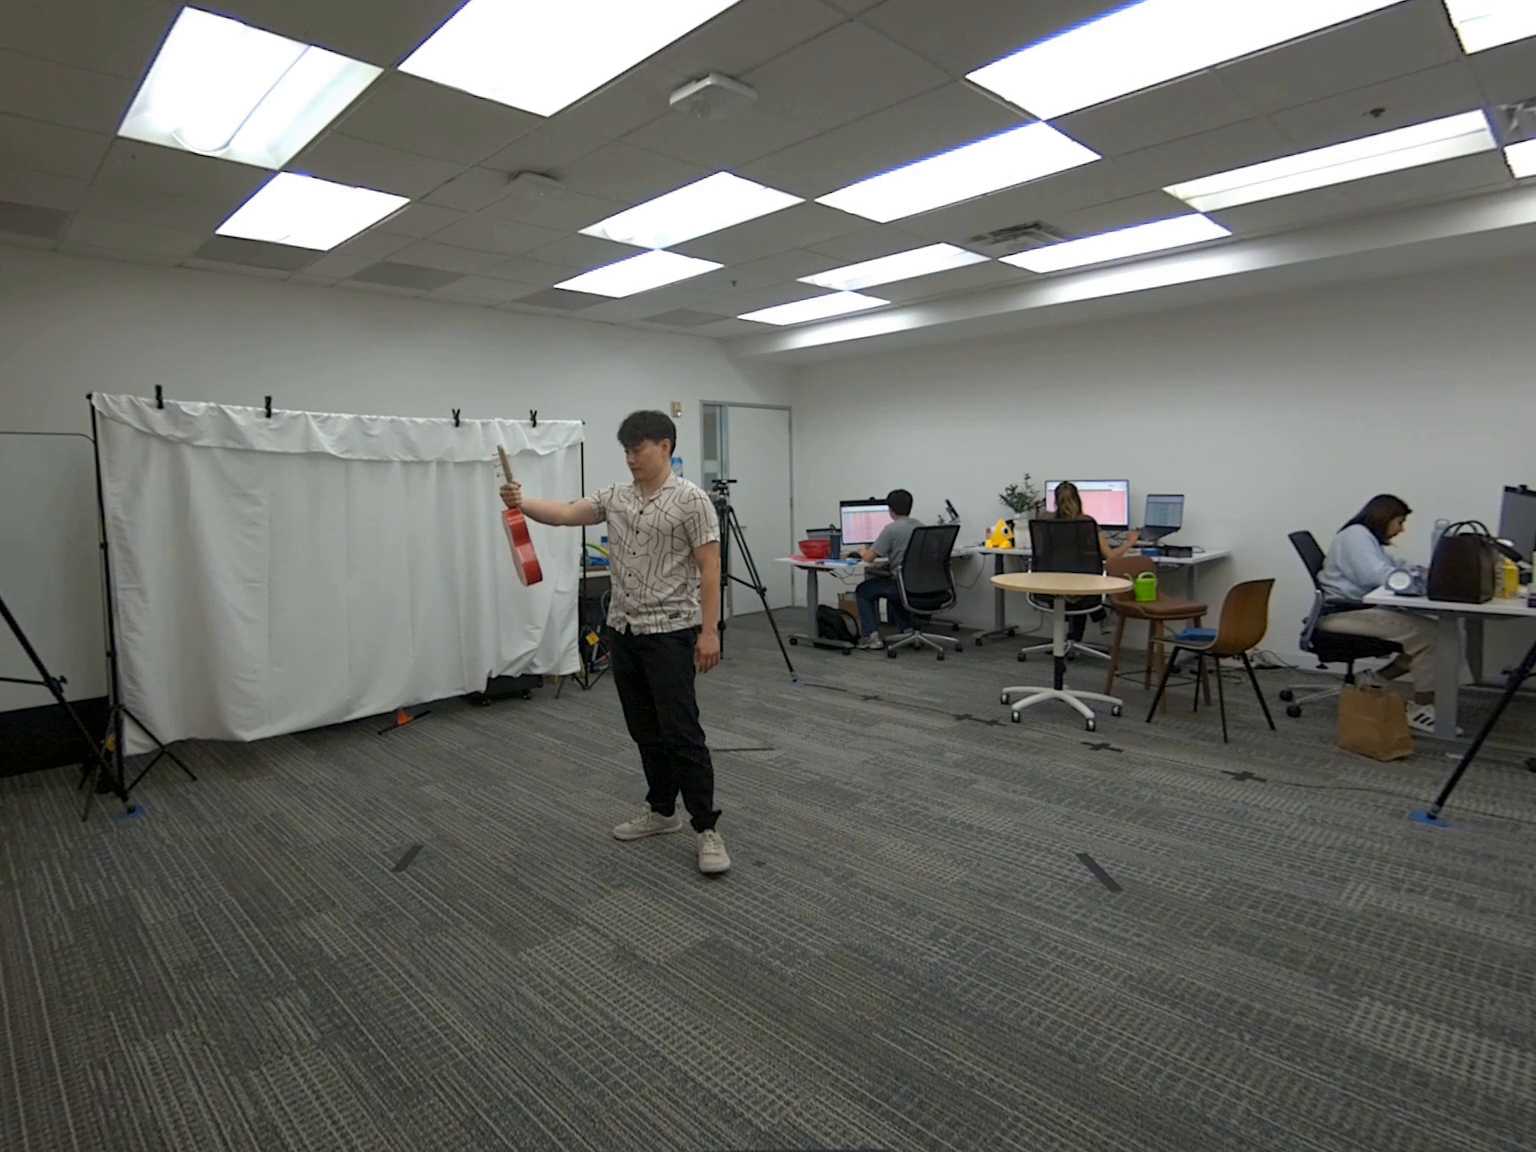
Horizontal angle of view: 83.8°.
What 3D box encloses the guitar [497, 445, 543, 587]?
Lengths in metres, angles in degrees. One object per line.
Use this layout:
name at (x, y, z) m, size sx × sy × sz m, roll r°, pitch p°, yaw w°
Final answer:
guitar at (-0.898, -0.210, 3.026) m, size 0.070 × 0.497 × 0.195 m, roll -17°, pitch 1°, yaw -19°
